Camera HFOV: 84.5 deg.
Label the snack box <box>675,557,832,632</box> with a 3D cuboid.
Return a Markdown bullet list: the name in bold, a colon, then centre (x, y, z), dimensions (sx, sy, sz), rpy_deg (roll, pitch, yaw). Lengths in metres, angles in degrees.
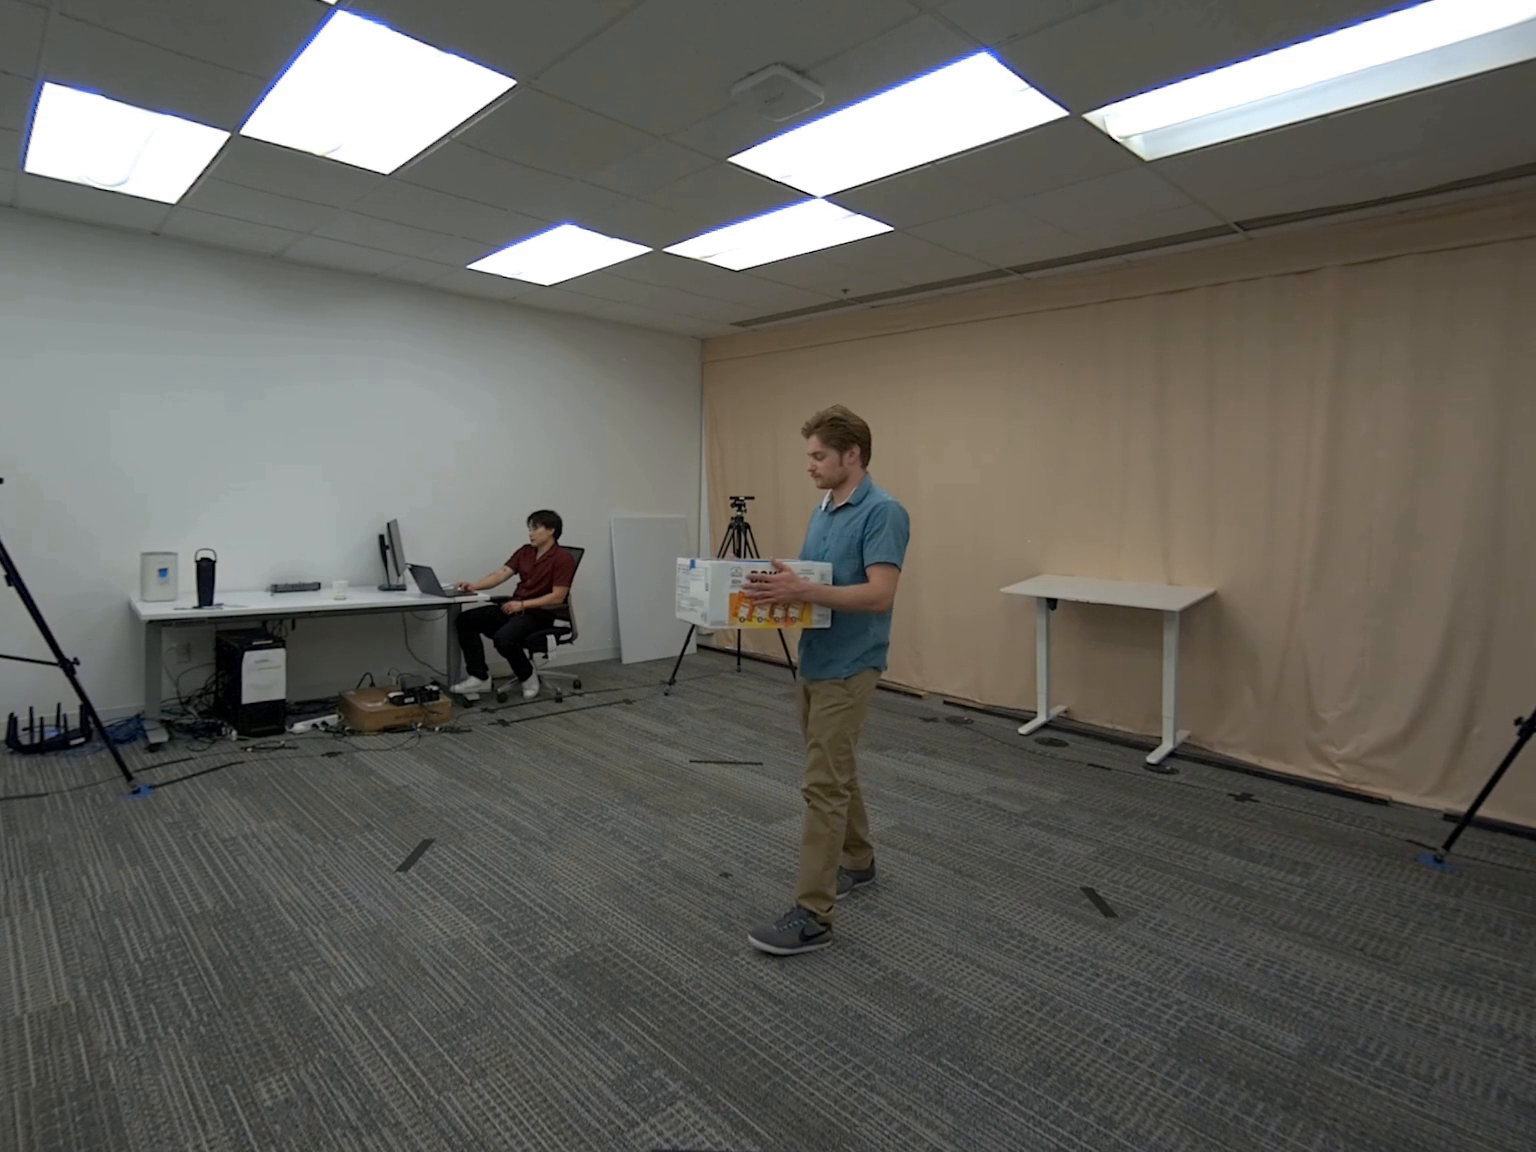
- **snack box**: centre (-0.063, 0.043, 2.705), dimensions (0.398, 0.205, 0.346), rpy_deg (1, 2, -22)
